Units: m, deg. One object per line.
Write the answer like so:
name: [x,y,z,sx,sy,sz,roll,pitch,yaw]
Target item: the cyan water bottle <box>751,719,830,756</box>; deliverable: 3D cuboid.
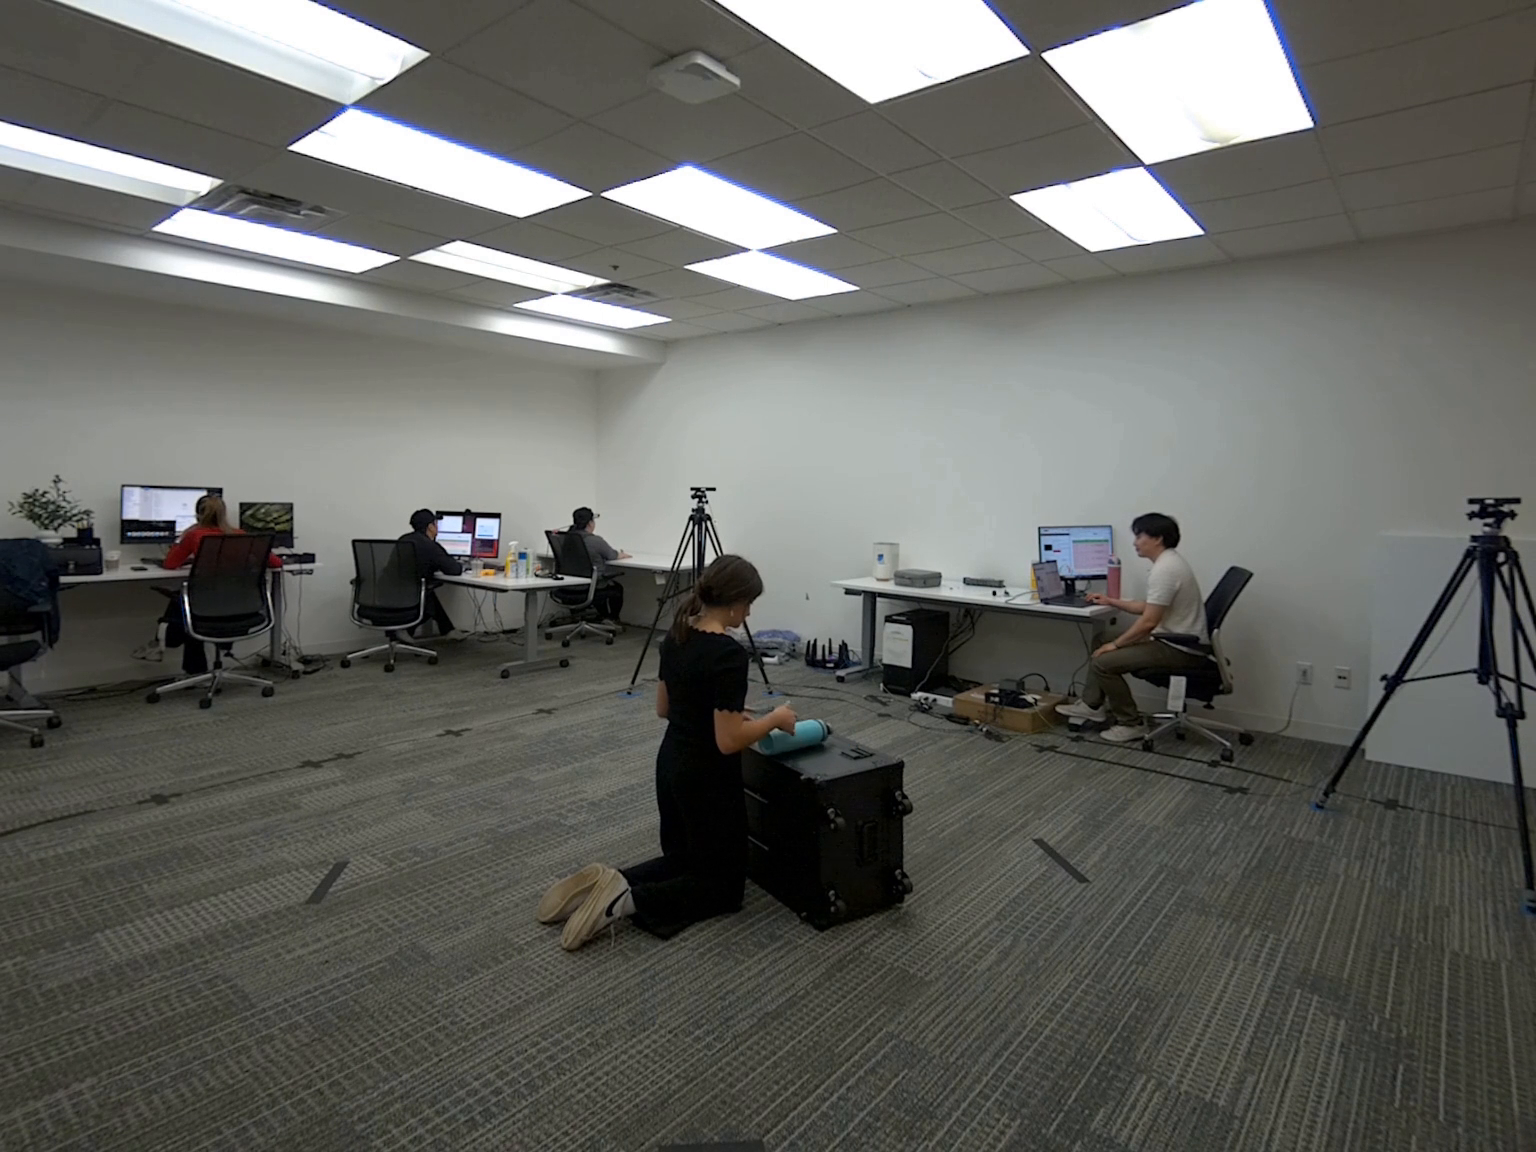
cyan water bottle: [0.094,0.557,2.966,0.275,0.092,0.095,-2,5,-34]
